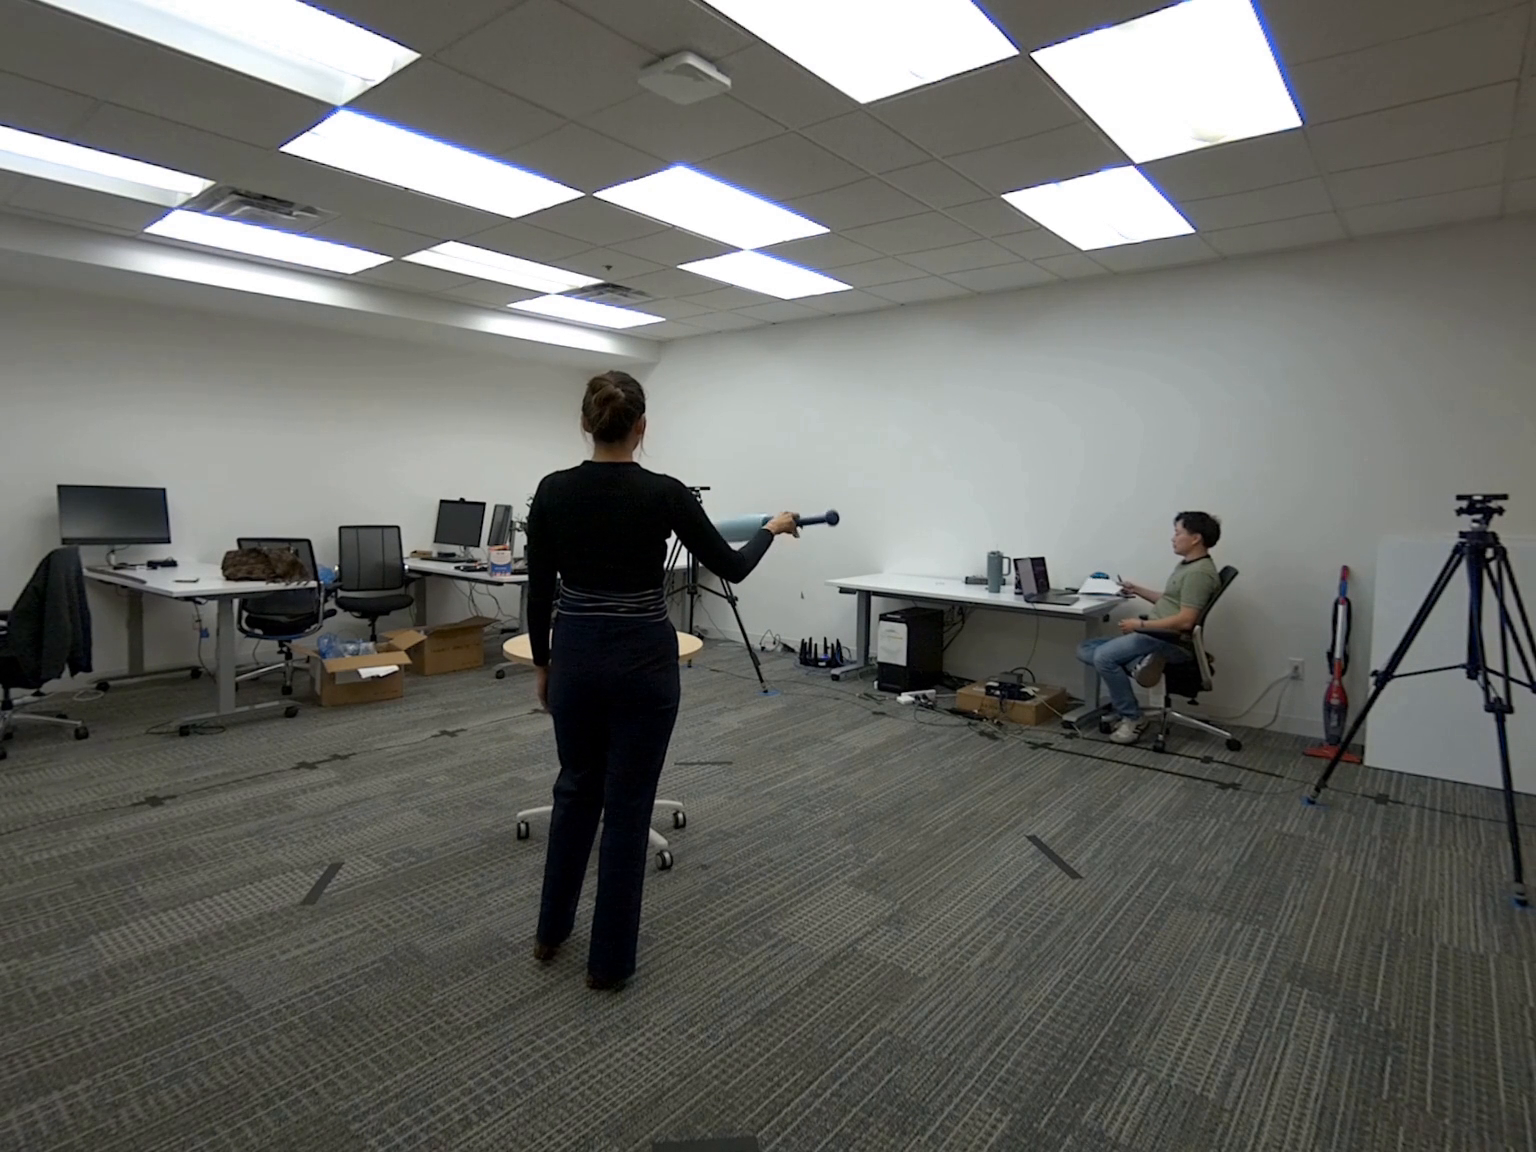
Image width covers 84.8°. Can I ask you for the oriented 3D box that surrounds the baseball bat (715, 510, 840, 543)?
[{"bbox_3d":[0.022,-0.165,2.765,0.086,0.089,0.559,-3,0,-44],"label":"baseball bat"}]
